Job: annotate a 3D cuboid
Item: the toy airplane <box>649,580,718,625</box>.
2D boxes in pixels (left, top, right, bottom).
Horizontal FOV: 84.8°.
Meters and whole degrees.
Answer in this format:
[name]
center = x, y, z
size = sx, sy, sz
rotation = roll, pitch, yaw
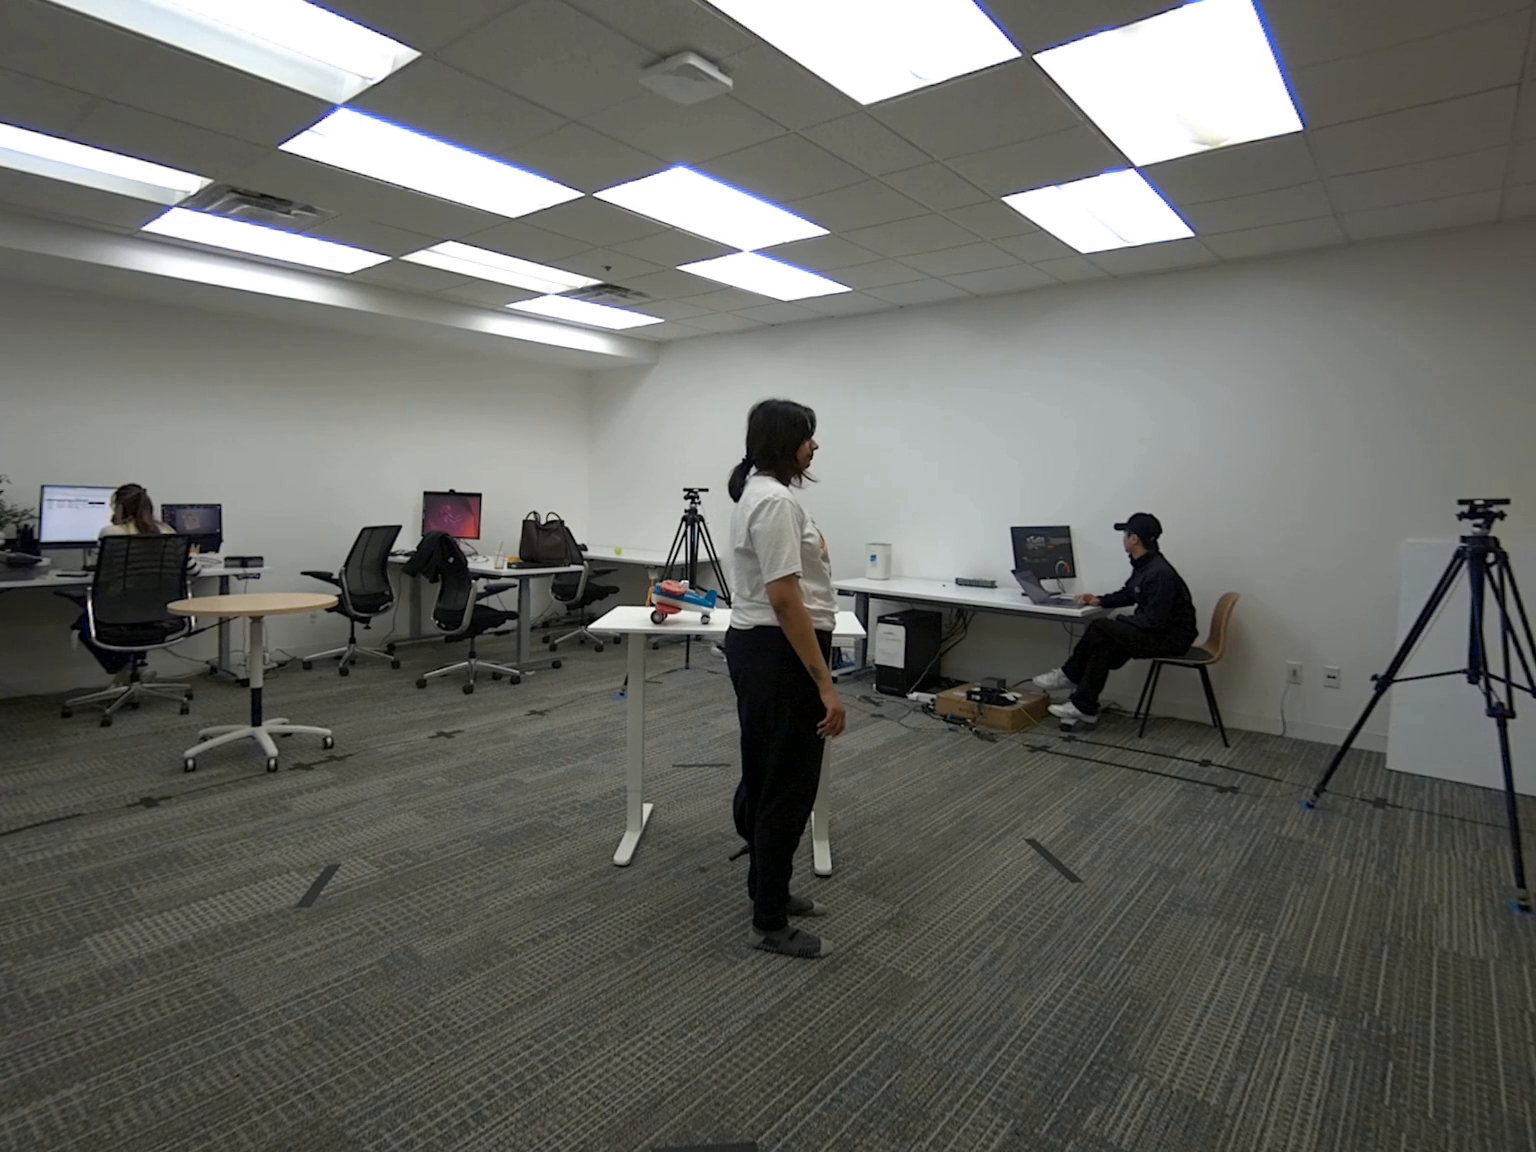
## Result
[toy airplane]
center = -0.343, 0.096, 3.237
size = 0.253, 0.156, 0.258
rotation = -2, 7, -26
